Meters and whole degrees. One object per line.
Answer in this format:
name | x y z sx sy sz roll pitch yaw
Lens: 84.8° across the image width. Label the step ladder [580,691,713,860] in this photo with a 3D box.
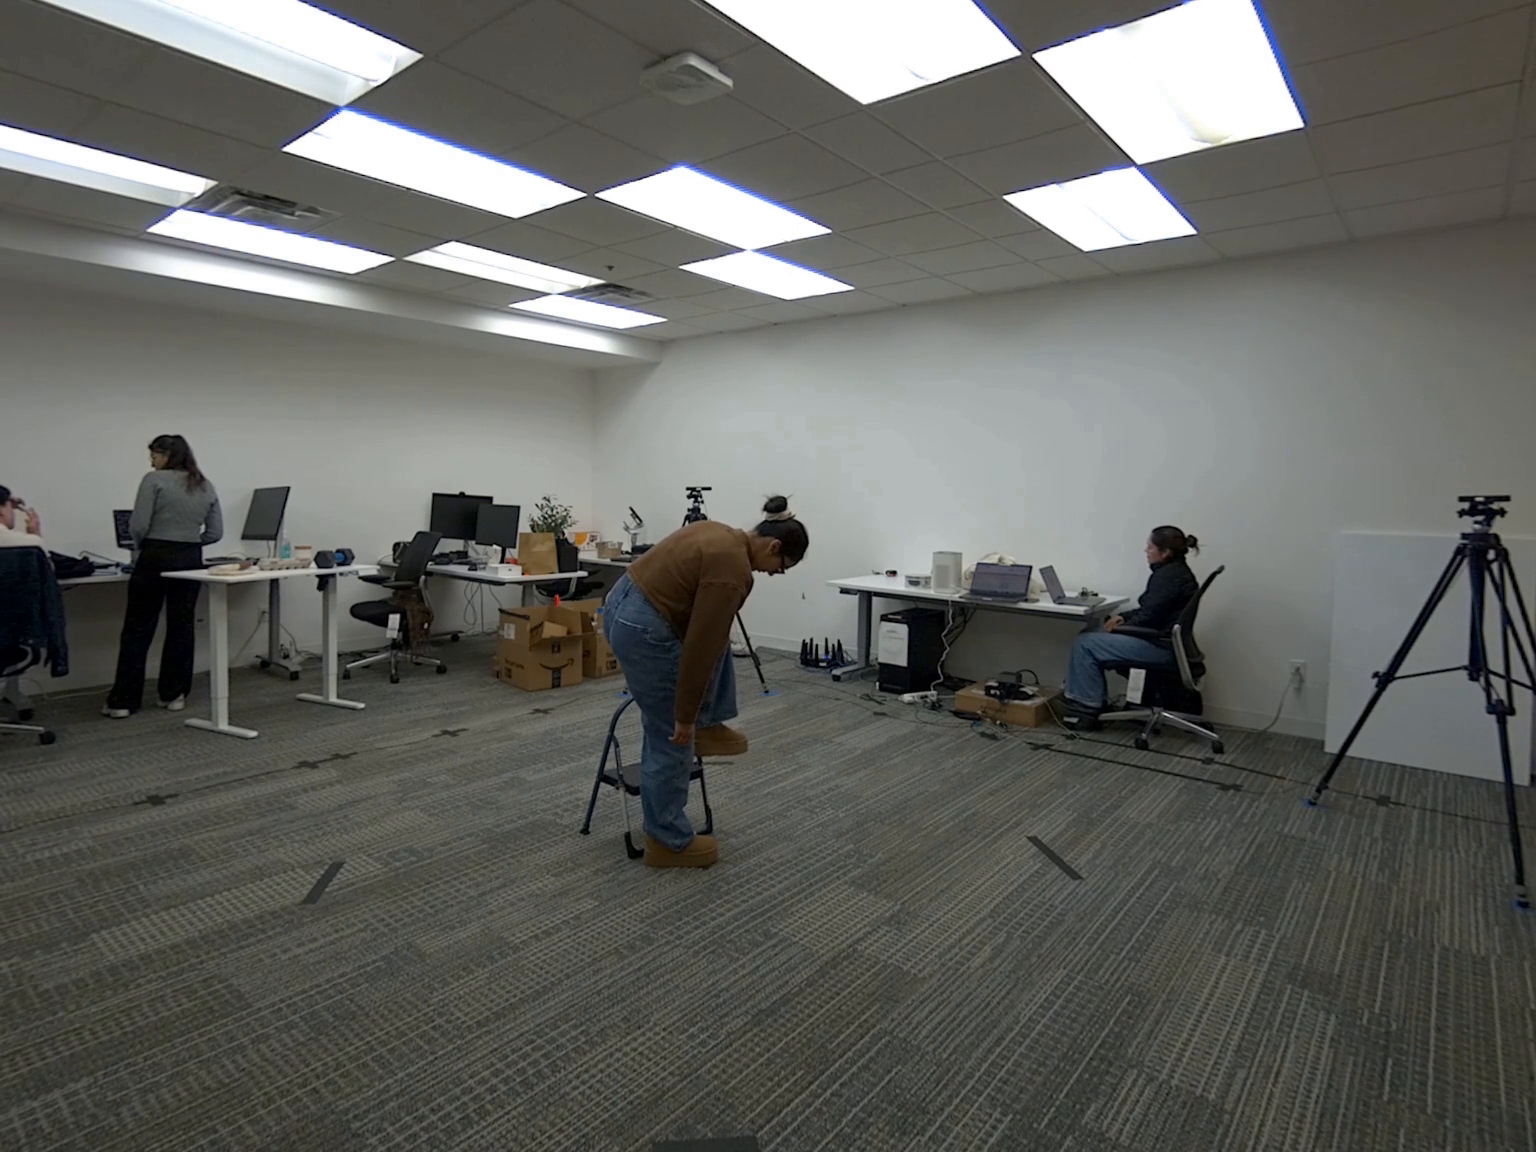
step ladder | -0.494 0.728 3.415 0.417 0.604 0.361 -2 5 -44
